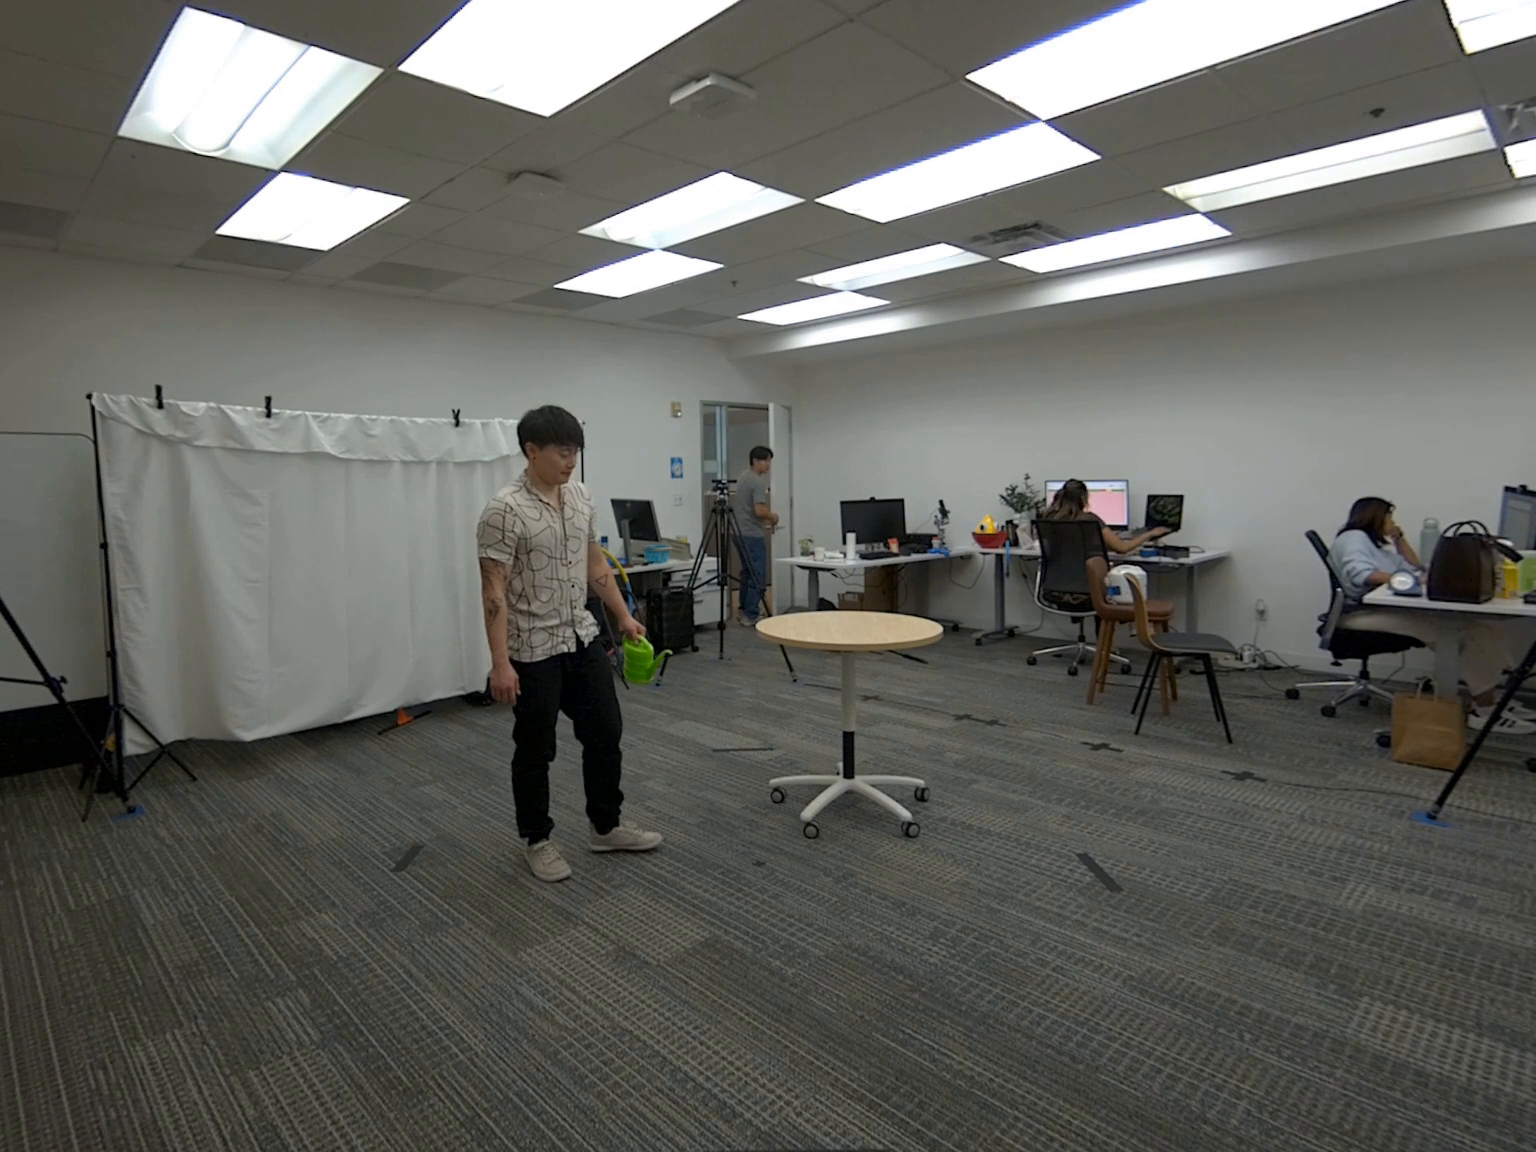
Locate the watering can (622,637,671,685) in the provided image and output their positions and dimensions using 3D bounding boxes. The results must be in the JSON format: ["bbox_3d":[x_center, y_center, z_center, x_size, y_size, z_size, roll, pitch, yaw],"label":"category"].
[{"bbox_3d":[-0.474,0.323,3.207,0.096,0.174,0.288,-6,20,-31],"label":"watering can"}]
